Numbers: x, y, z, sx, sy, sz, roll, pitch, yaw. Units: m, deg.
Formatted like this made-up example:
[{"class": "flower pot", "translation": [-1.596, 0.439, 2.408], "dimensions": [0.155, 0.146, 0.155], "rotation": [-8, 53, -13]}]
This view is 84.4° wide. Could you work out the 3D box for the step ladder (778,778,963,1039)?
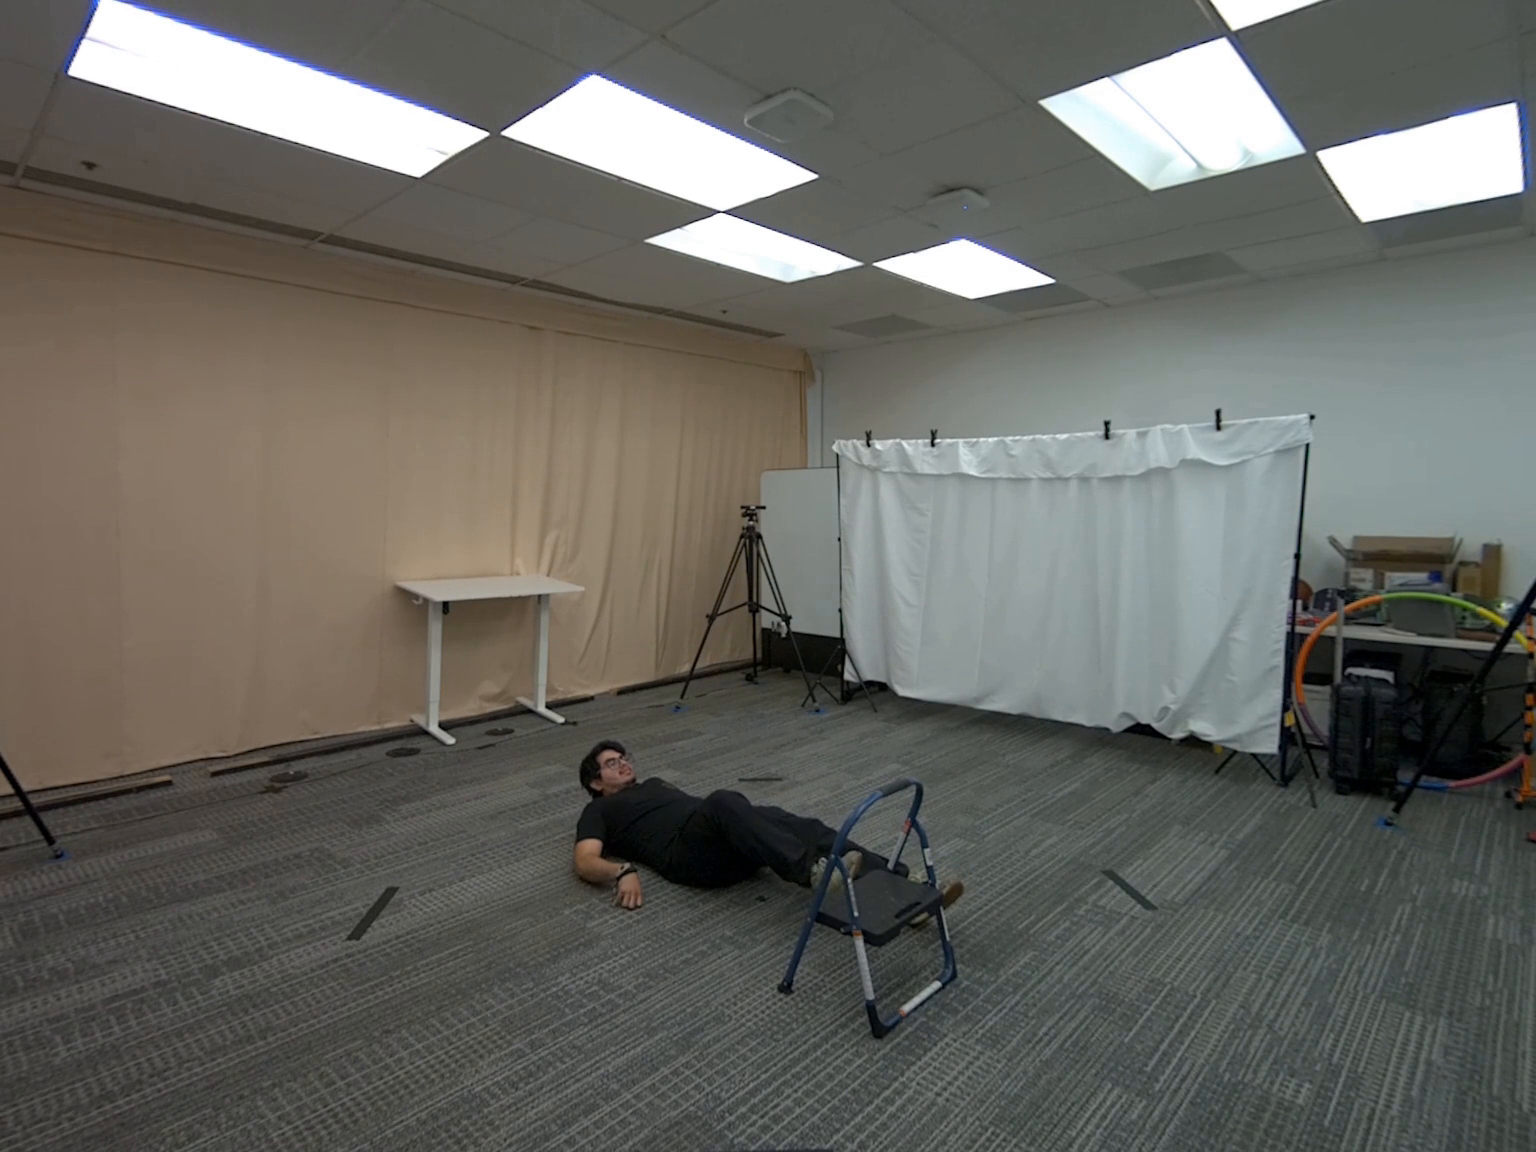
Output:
[{"class": "step ladder", "translation": [0.299, 0.886, 2.434], "dimensions": [0.361, 0.604, 0.417], "rotation": [3, 5, 42]}]
